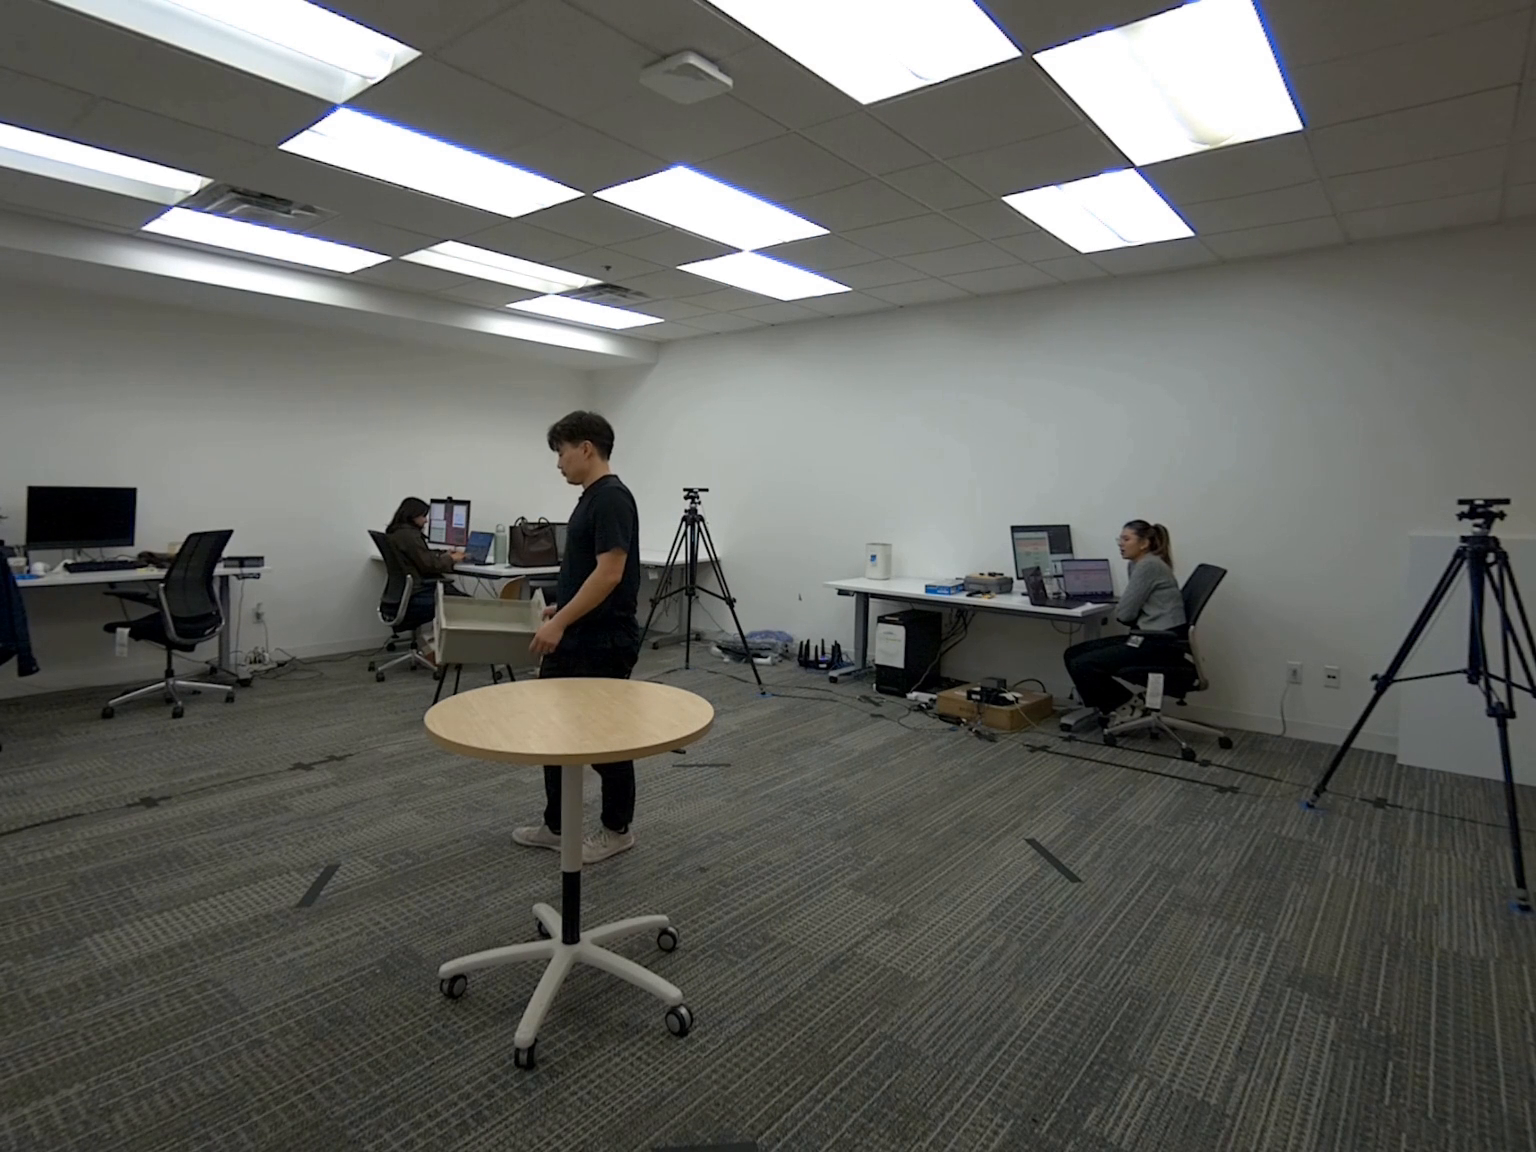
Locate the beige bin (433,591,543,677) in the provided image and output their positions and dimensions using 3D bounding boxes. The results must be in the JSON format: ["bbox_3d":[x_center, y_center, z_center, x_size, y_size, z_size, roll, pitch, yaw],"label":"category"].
[{"bbox_3d":[-1.151,0.190,3.462,0.412,0.186,0.392,3,29,-25],"label":"beige bin"}]
